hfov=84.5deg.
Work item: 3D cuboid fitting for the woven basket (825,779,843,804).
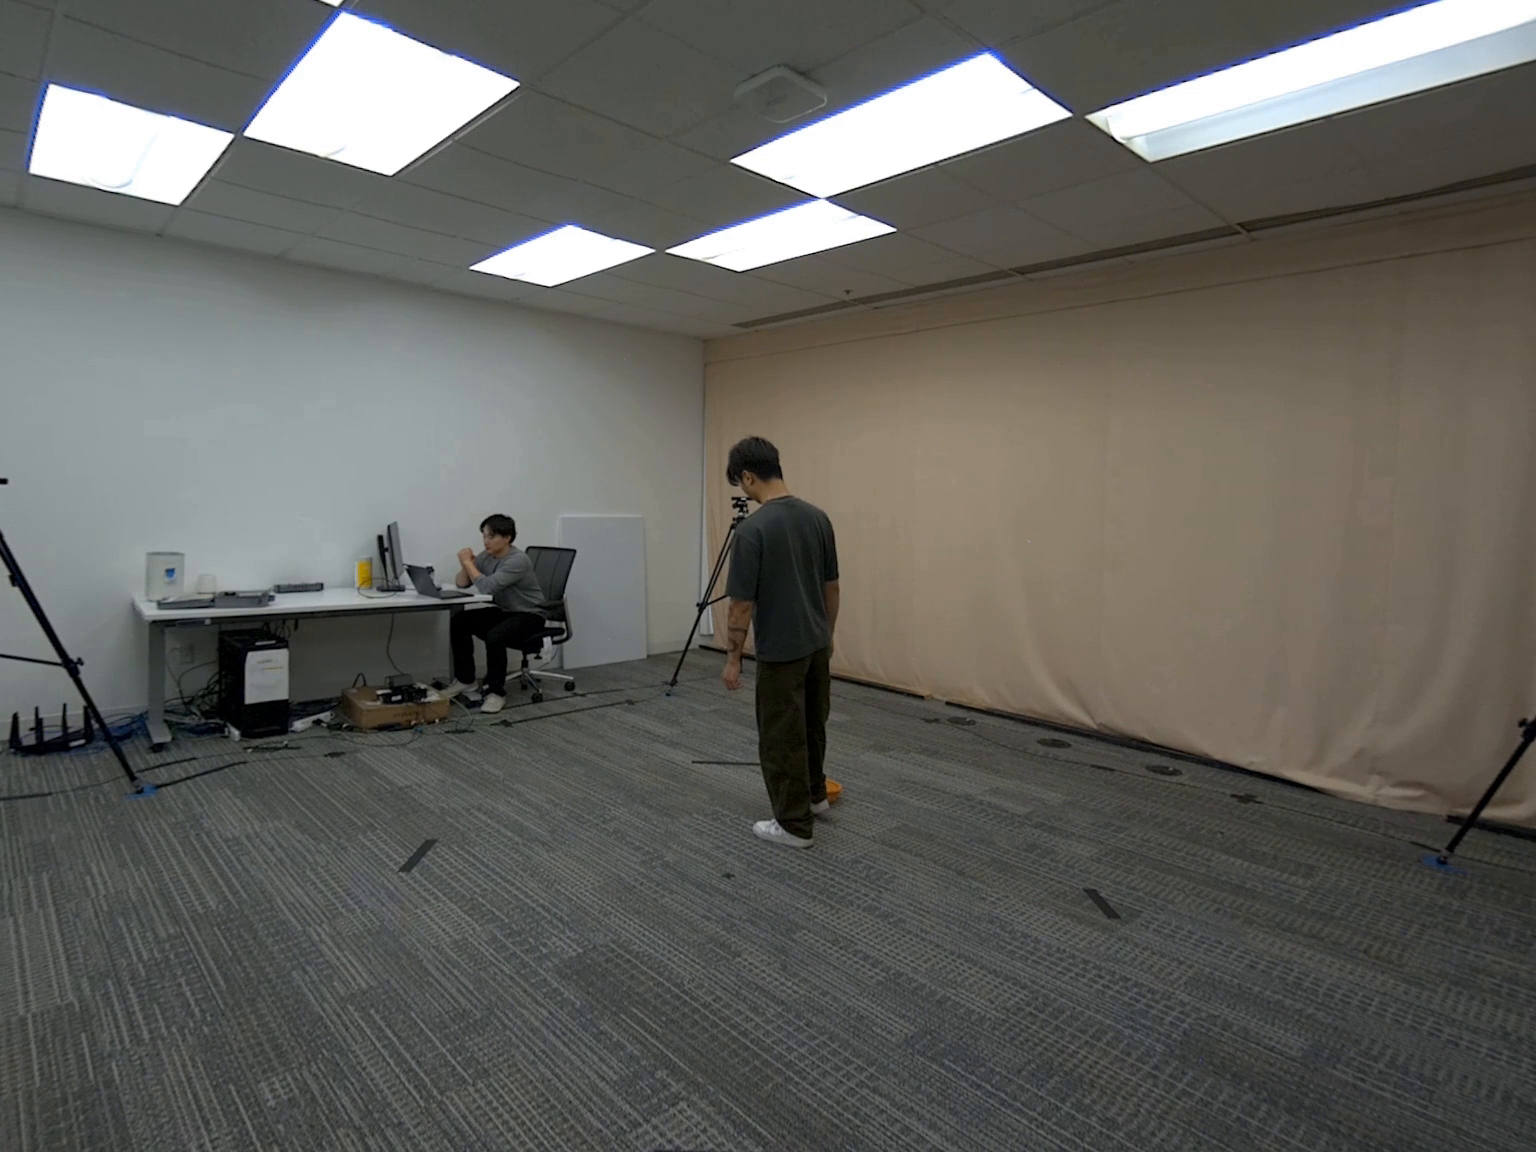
[{"bbox_3d":[0.171,1.004,3.959,0.359,0.073,0.246,4,1,35],"label":"woven basket"}]
